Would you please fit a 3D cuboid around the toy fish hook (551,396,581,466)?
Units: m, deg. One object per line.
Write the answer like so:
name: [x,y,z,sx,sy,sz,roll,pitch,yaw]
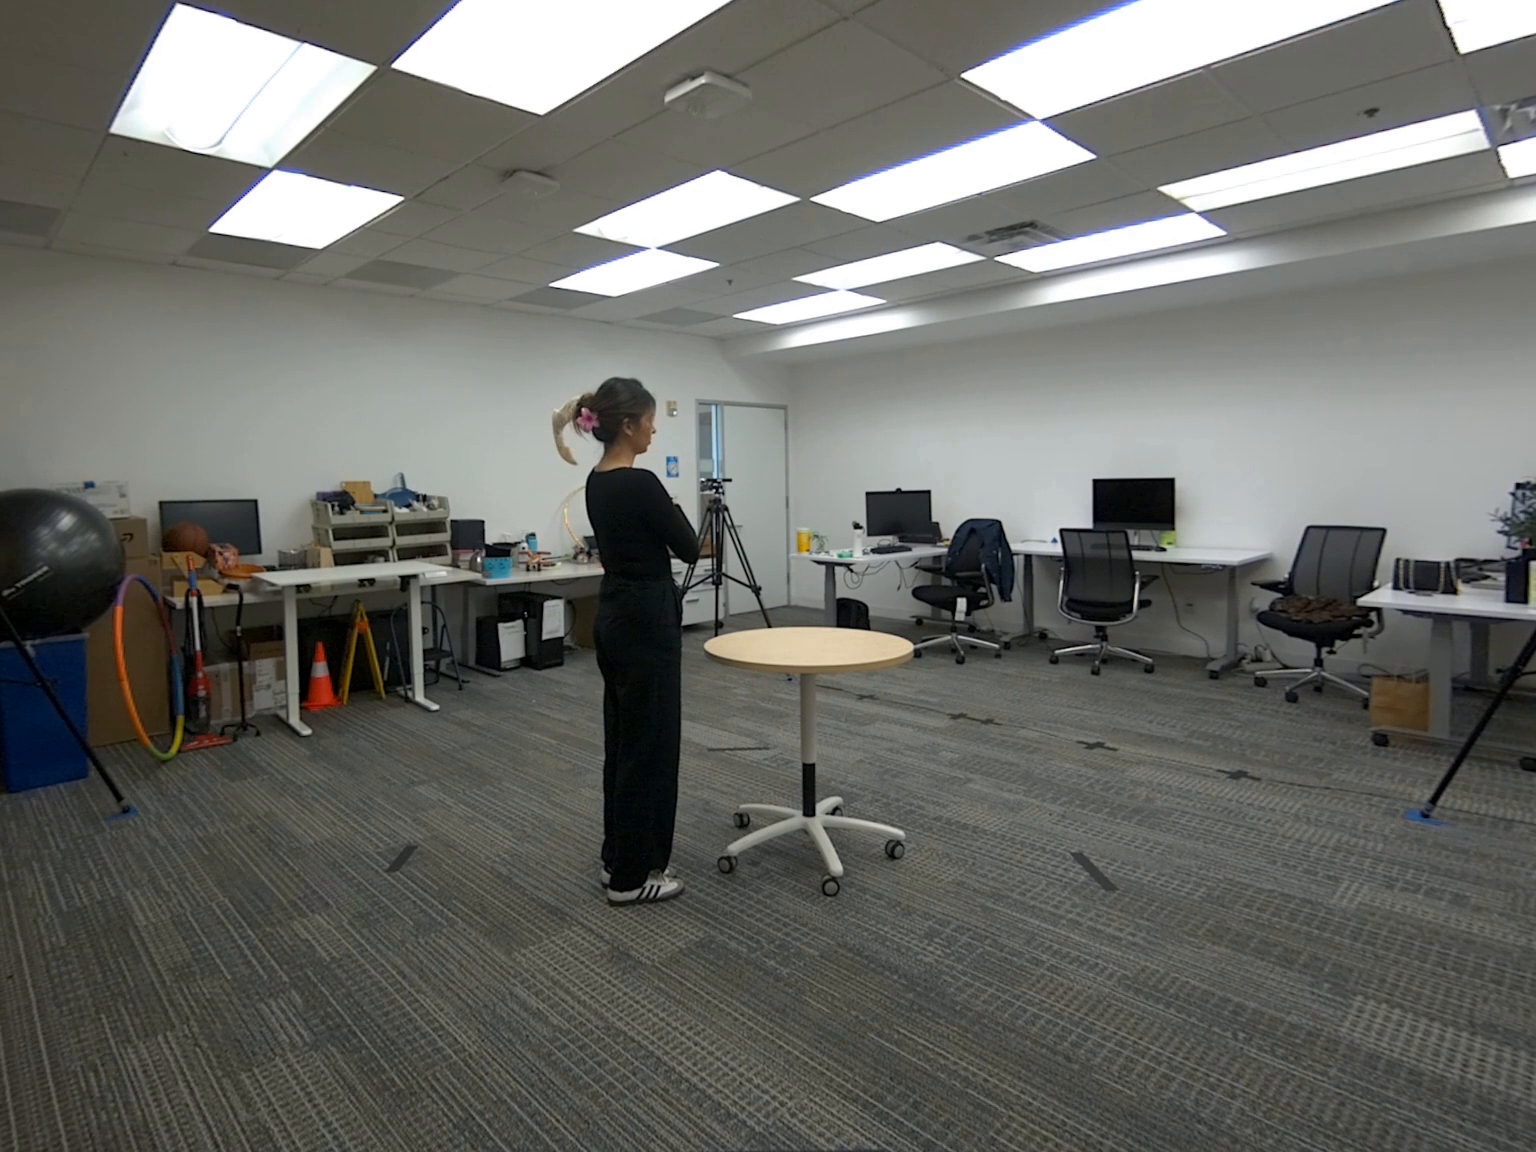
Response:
toy fish hook: [-0.548,-0.384,2.942,0.224,0.502,0.049,-32,6,-6]
